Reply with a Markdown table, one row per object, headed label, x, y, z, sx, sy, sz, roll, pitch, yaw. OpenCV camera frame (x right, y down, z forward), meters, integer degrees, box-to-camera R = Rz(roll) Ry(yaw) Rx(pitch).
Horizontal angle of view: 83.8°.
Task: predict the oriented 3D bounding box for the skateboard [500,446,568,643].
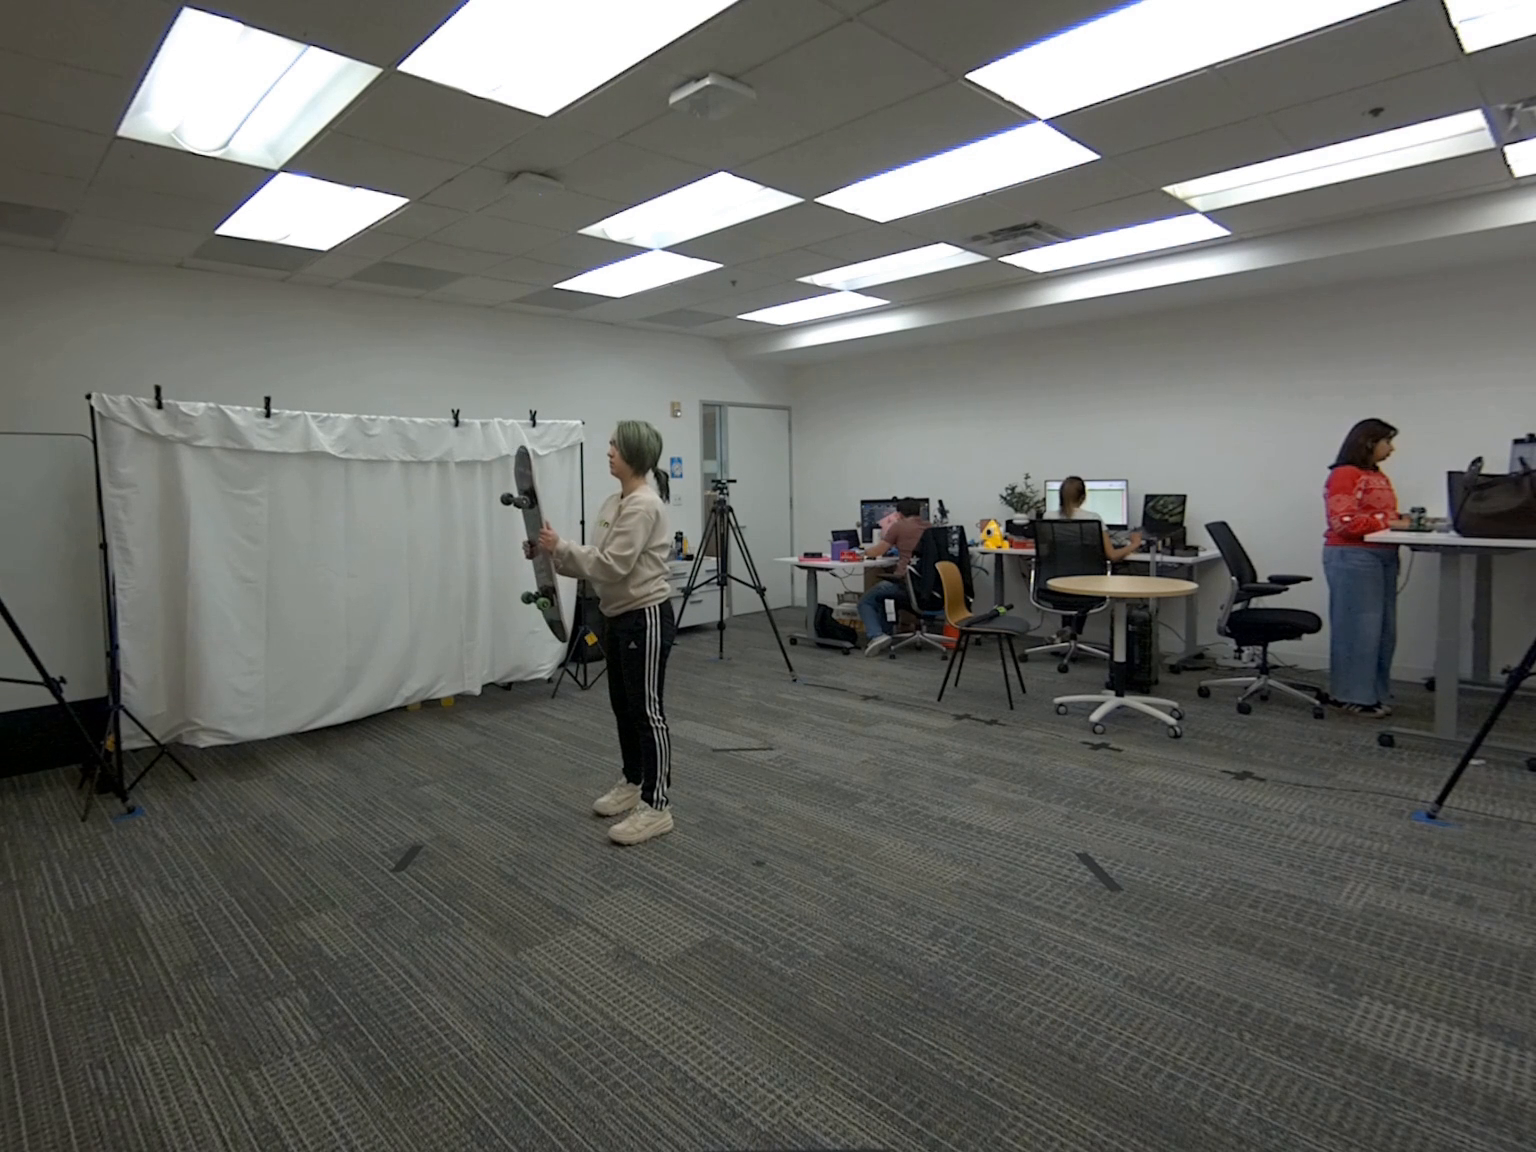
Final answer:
| label | x | y | z | sx | sy | sz | roll | pitch | yaw |
| --- | --- | --- | --- | --- | --- | --- | --- | --- | --- |
| skateboard | -0.894 | -0.098 | 3.261 | 0.108 | 0.774 | 0.200 | -18 | 16 | -35 |
